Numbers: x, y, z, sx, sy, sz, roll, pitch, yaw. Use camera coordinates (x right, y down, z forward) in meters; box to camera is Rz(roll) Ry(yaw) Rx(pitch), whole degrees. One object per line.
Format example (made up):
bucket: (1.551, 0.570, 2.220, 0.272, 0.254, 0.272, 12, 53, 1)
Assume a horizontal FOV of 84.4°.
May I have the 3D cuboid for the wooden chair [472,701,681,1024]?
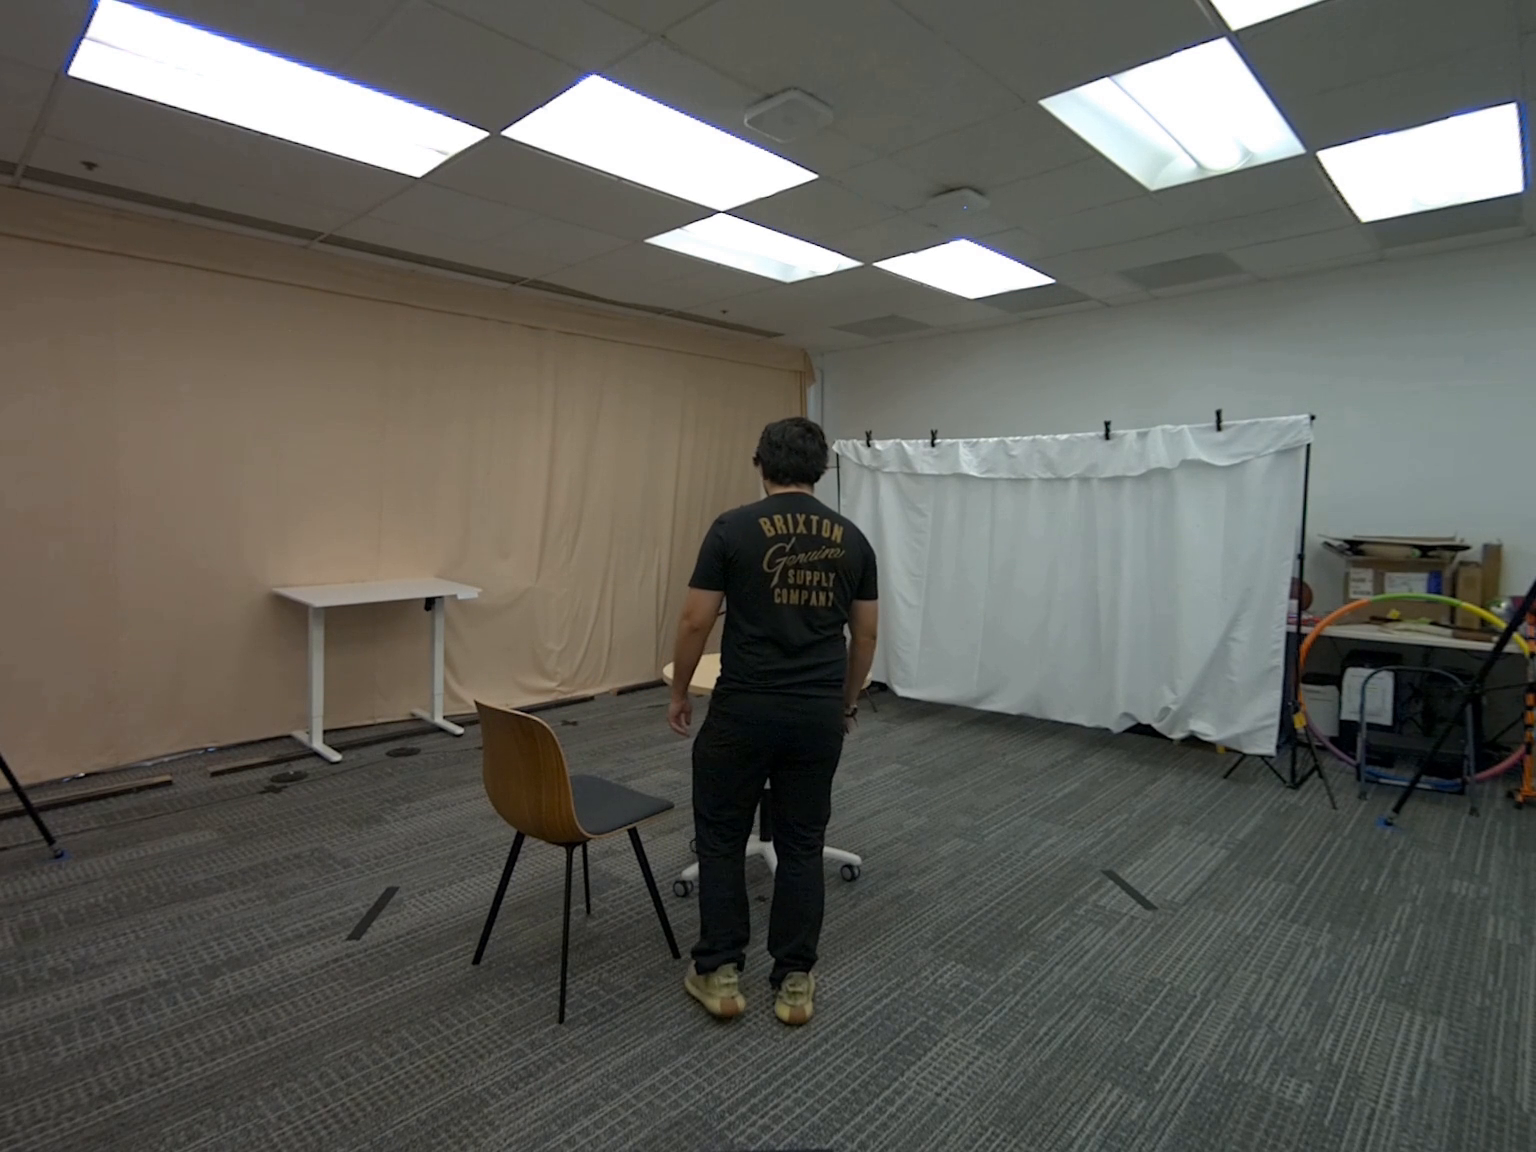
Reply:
wooden chair: (-0.584, 0.756, 2.559, 0.494, 0.874, 0.508, 2, 8, 41)
